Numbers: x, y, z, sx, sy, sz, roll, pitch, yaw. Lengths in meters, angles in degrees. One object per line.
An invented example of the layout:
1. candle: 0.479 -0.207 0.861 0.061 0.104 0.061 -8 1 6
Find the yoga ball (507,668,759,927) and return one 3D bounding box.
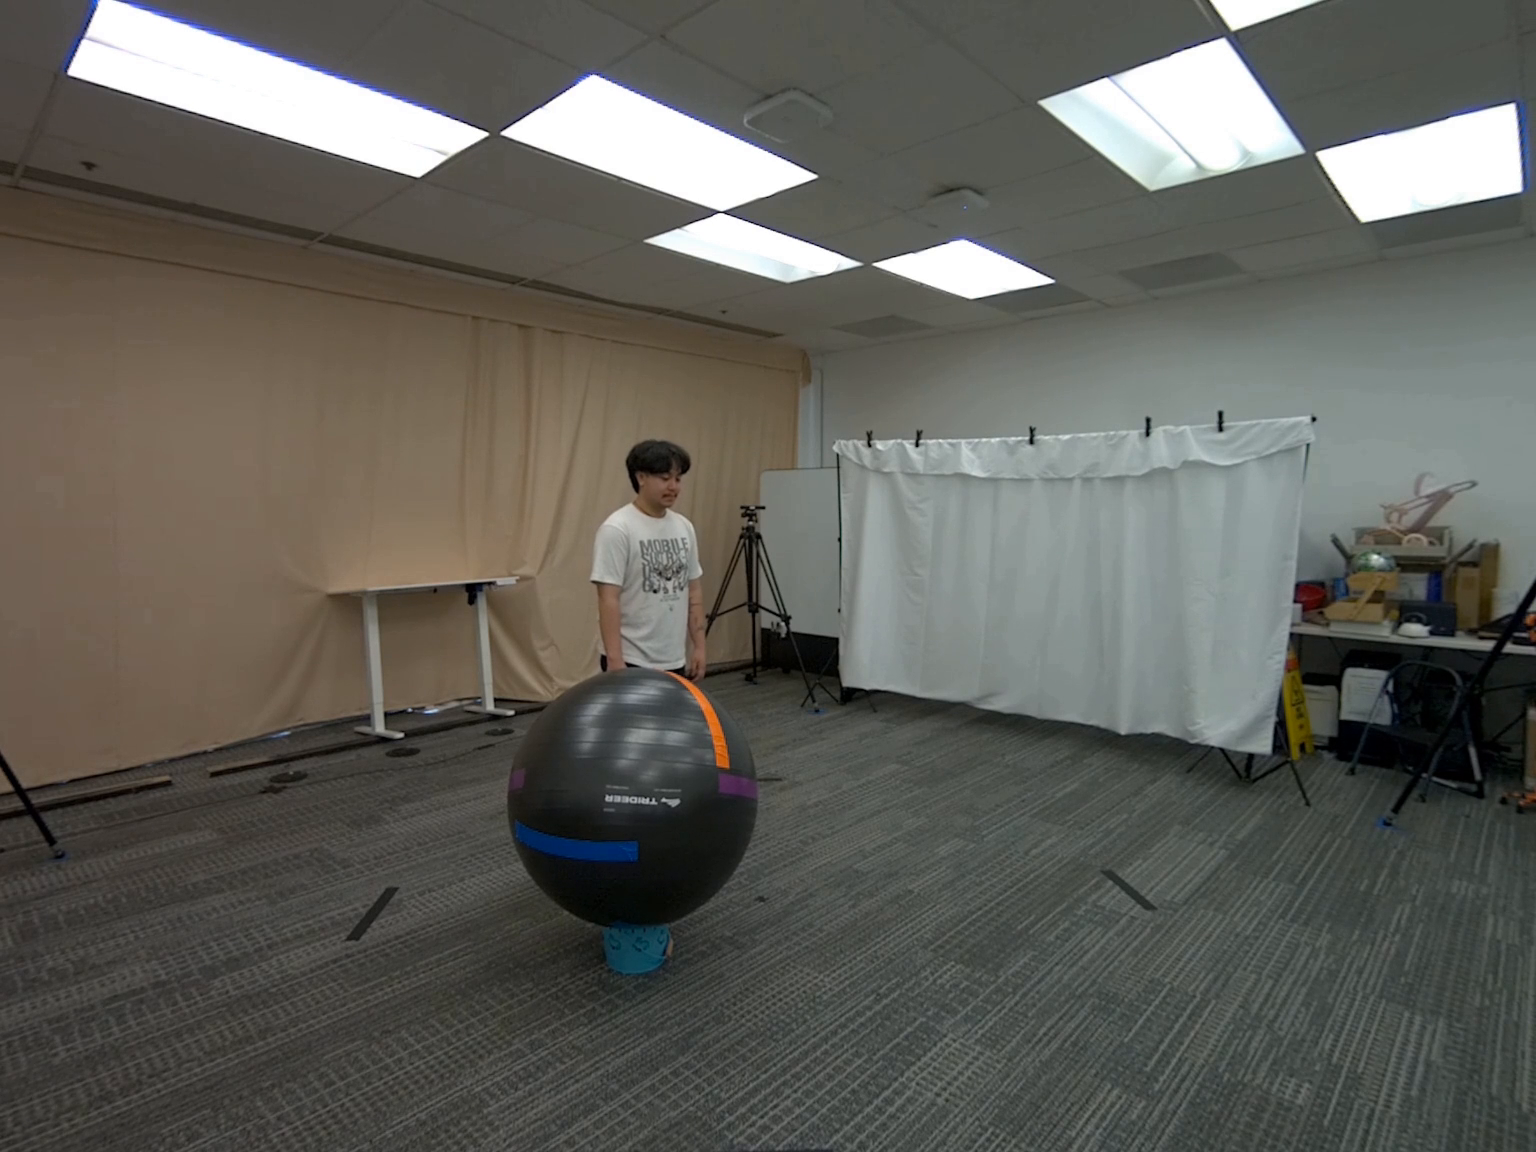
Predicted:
1. yoga ball: -0.409 0.674 2.563 0.757 0.756 0.761 0 4 -2
